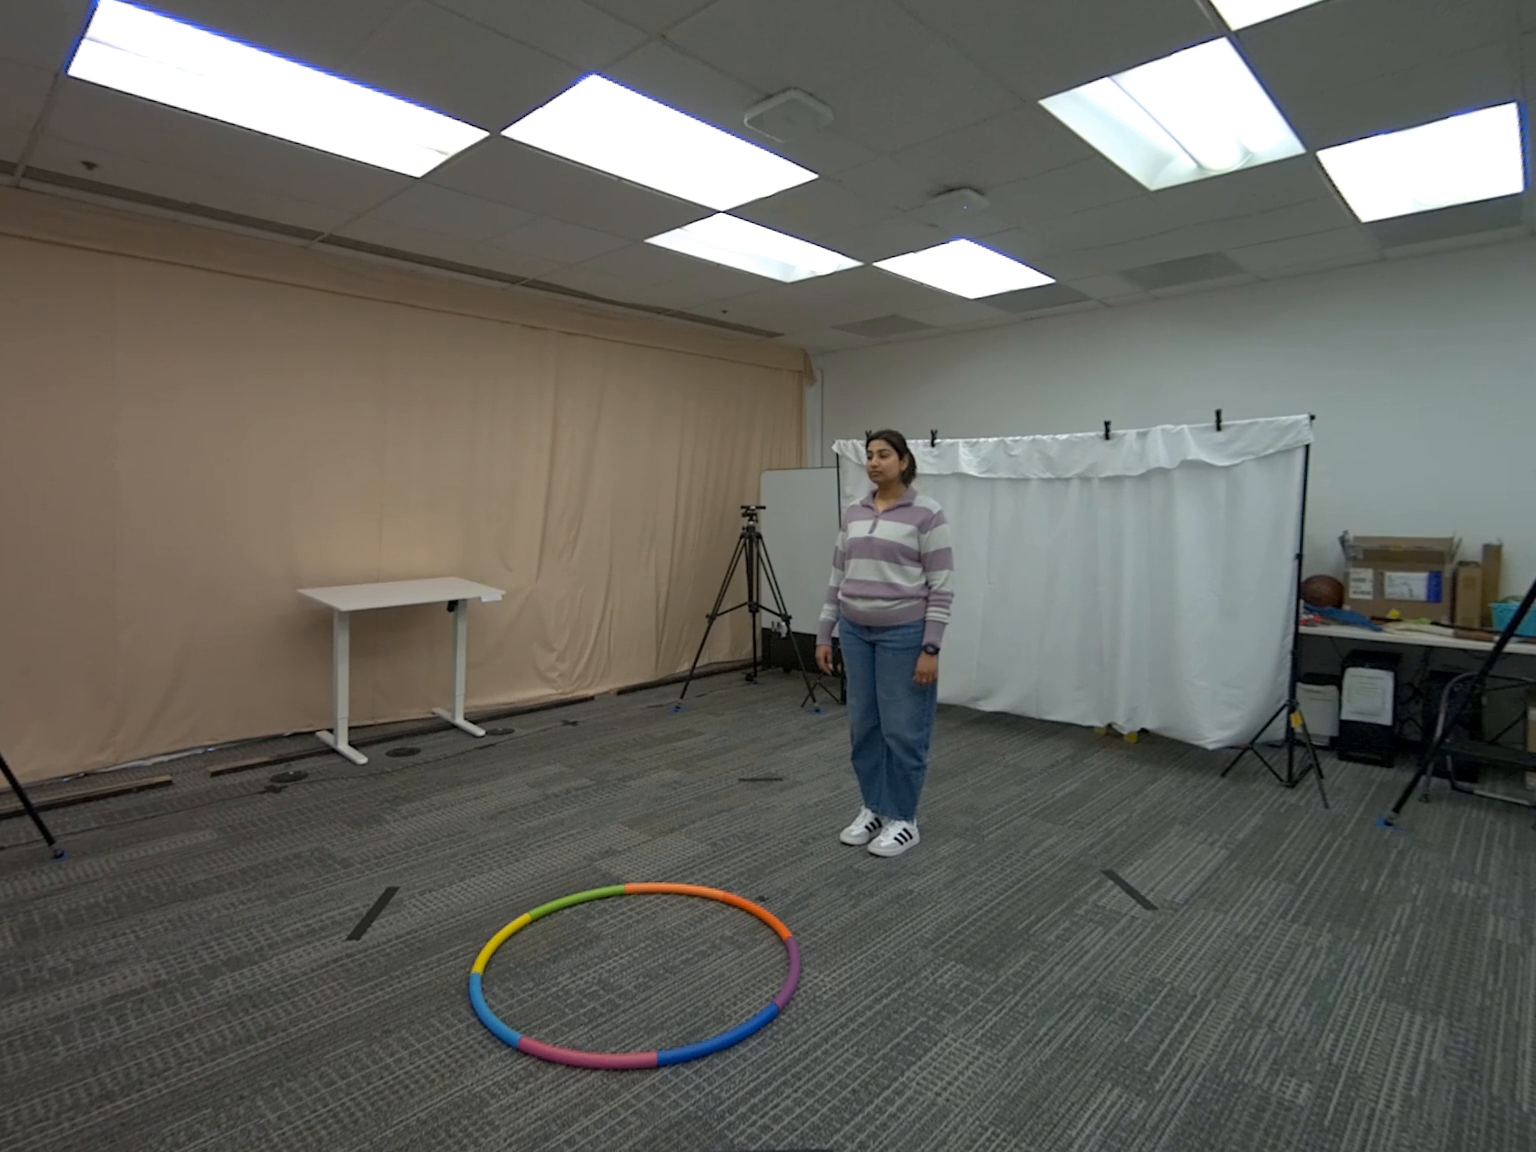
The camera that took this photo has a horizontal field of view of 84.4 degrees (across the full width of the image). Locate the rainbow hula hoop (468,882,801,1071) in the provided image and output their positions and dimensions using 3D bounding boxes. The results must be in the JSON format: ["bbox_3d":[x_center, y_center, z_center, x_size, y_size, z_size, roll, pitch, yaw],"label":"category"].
[{"bbox_3d":[-0.392,1.153,2.562,0.978,0.035,0.982,-1,4,-2],"label":"rainbow hula hoop"}]
